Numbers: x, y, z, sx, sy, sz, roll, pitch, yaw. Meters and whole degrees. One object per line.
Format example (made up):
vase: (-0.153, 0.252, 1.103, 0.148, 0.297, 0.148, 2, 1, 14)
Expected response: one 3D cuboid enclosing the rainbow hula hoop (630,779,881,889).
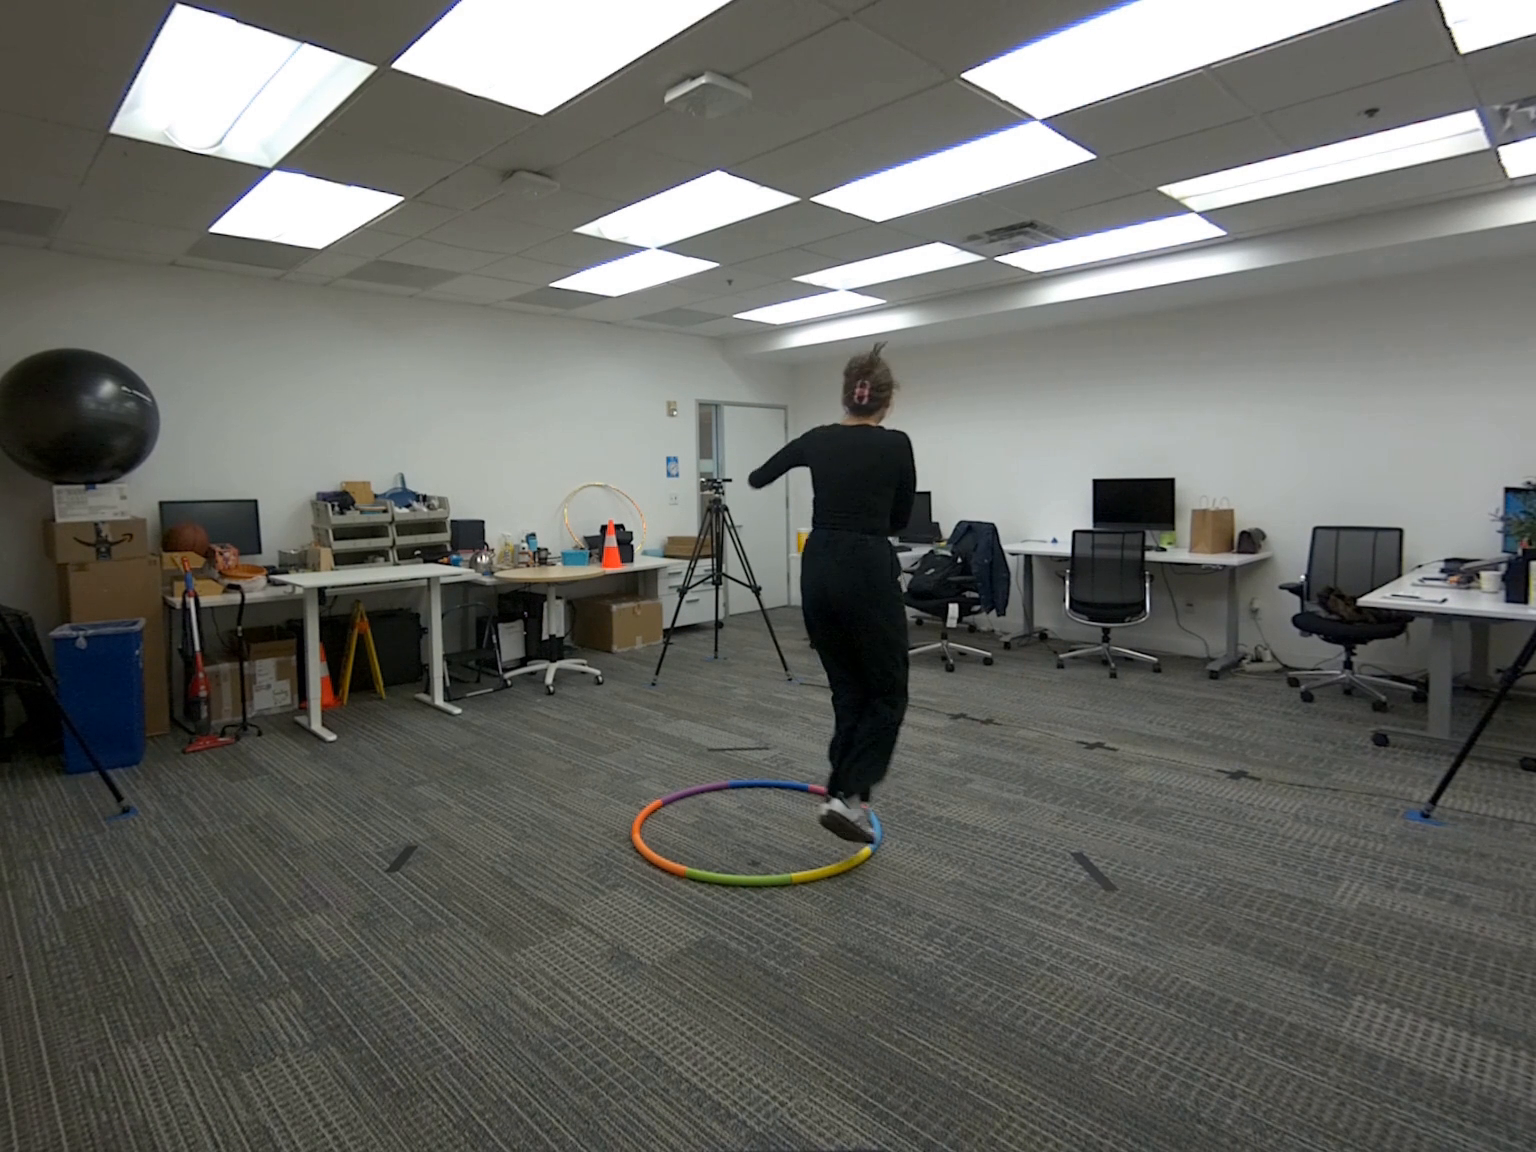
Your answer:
rainbow hula hoop: (-0.045, 0.981, 3.401, 0.978, 0.035, 0.984, -1, 6, -2)
